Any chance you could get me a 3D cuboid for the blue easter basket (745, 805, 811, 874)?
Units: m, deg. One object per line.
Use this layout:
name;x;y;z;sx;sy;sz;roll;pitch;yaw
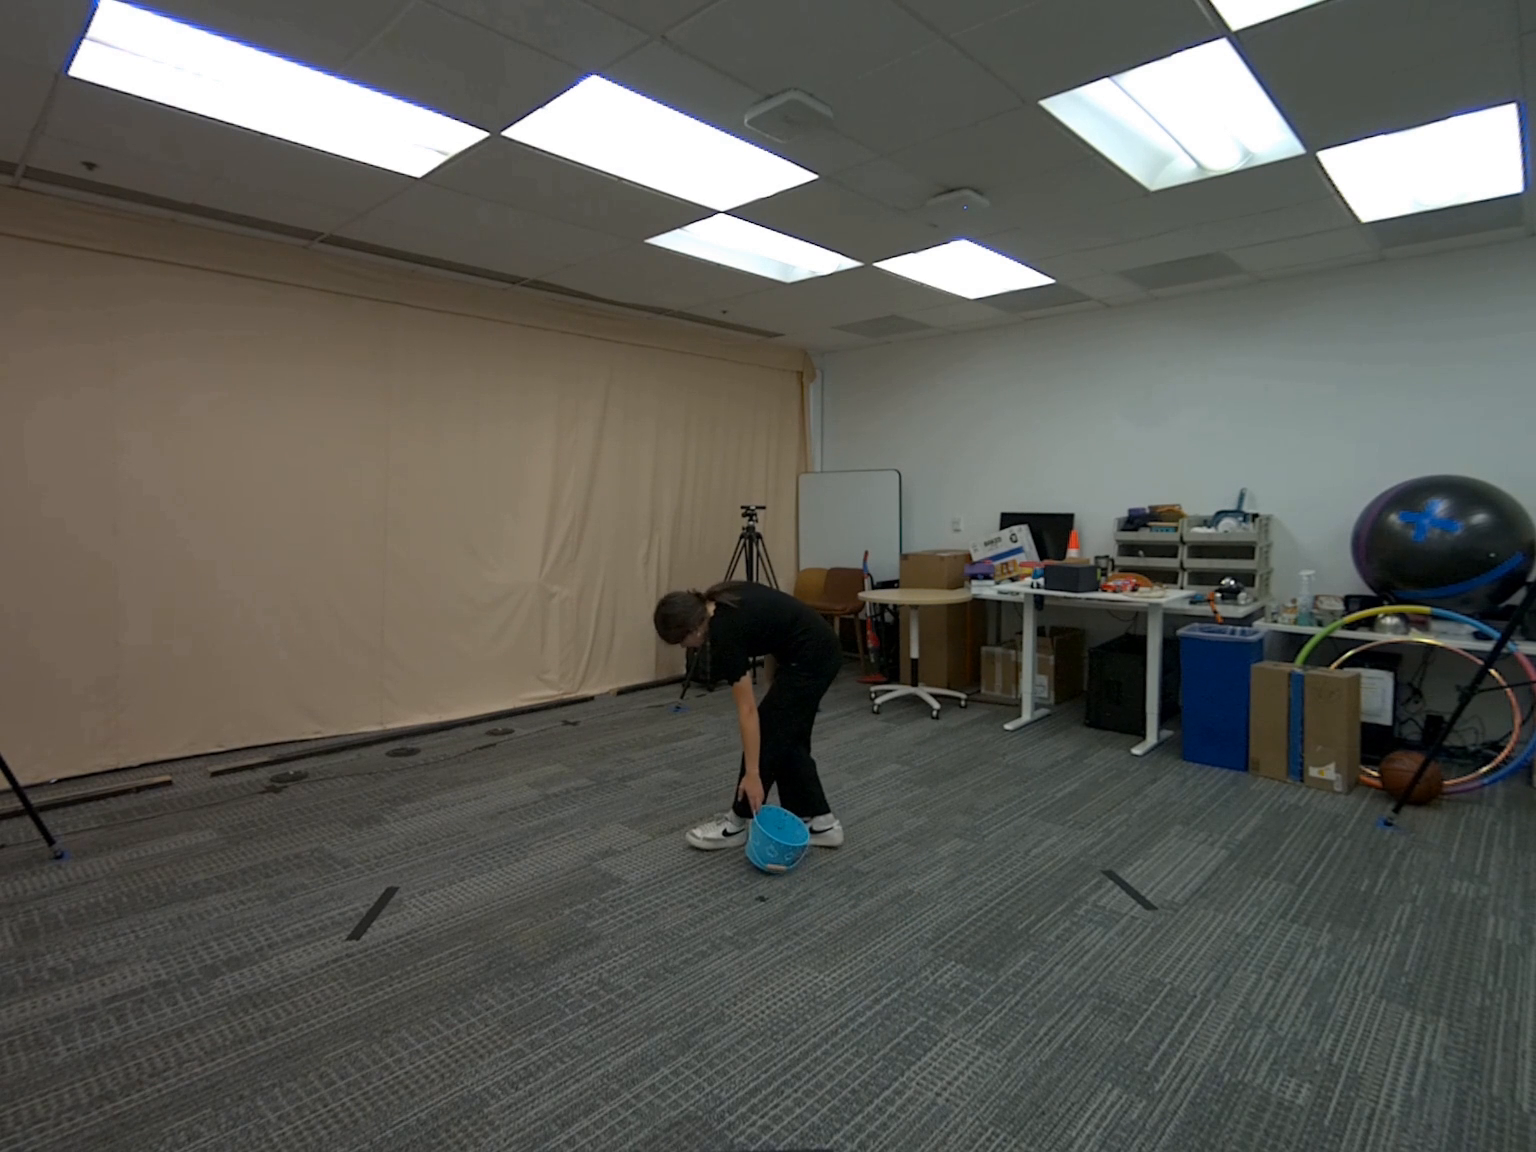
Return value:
blue easter basket;0.023;1.013;3.230;0.242;0.155;0.246;18;14;-7
